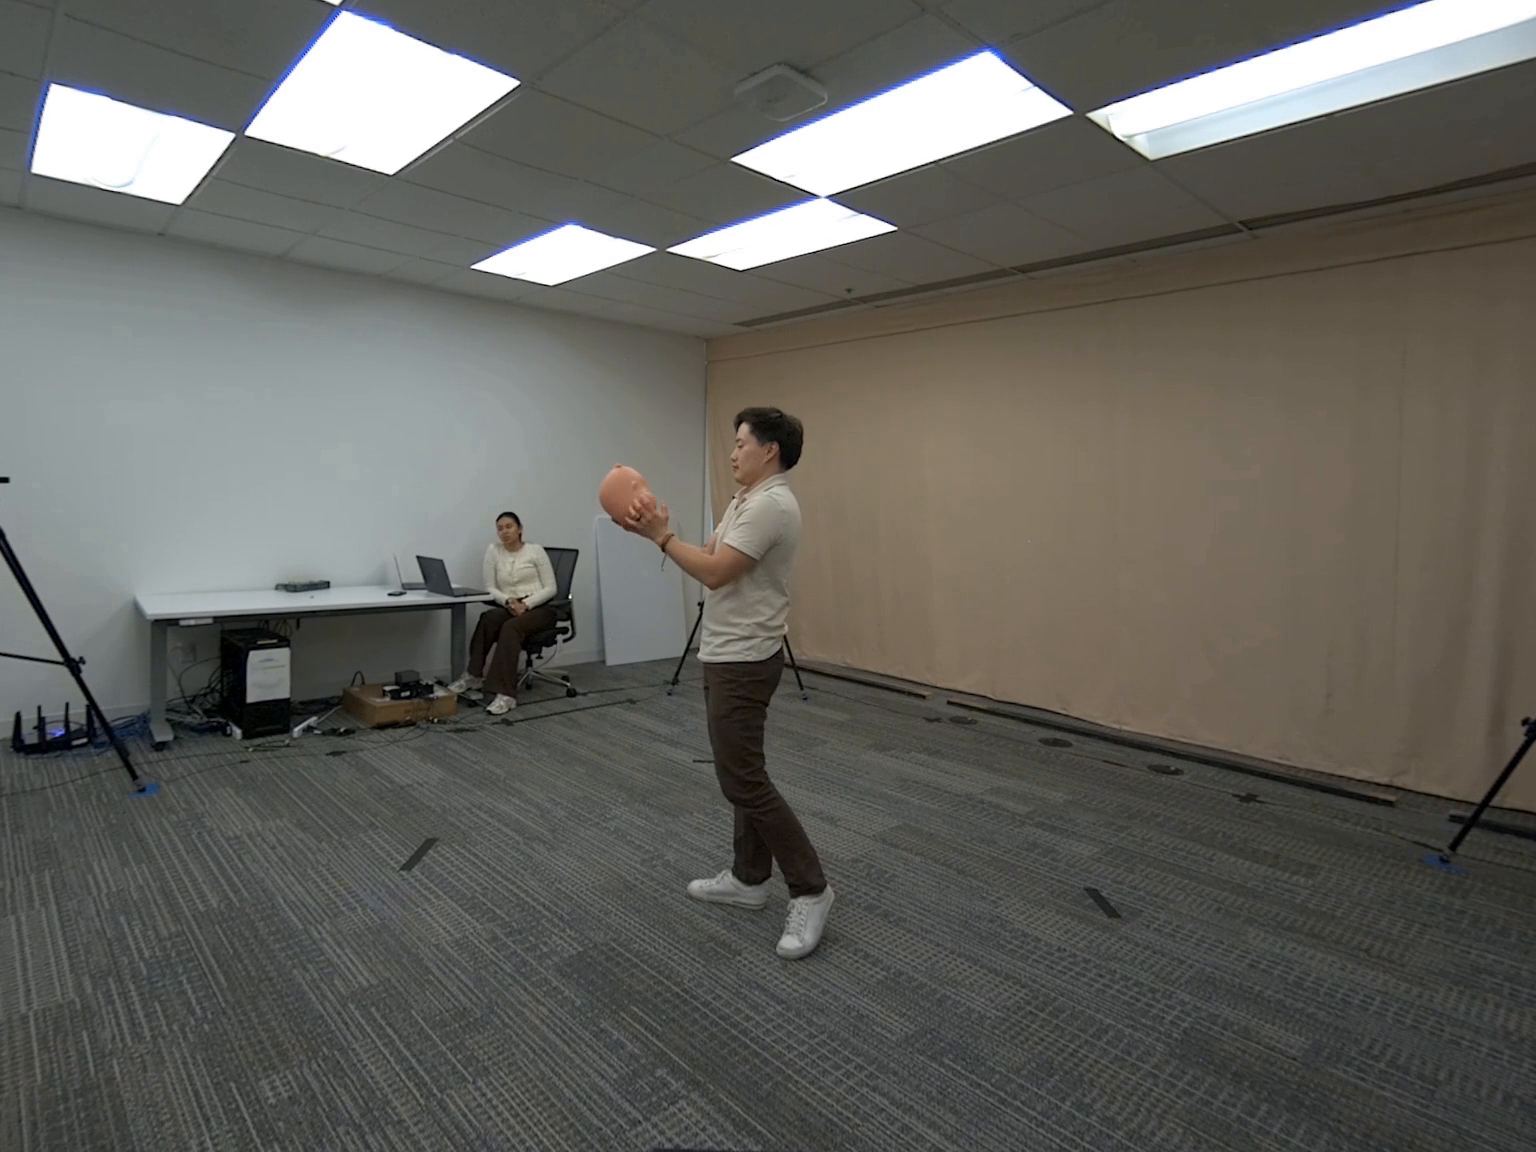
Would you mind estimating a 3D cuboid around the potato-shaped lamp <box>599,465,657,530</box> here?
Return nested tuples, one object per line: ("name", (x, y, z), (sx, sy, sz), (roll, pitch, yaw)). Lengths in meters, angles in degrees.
("potato-shaped lamp", (-0.456, -0.251, 2.788), (0.202, 0.171, 0.161), (38, 1, 18))
